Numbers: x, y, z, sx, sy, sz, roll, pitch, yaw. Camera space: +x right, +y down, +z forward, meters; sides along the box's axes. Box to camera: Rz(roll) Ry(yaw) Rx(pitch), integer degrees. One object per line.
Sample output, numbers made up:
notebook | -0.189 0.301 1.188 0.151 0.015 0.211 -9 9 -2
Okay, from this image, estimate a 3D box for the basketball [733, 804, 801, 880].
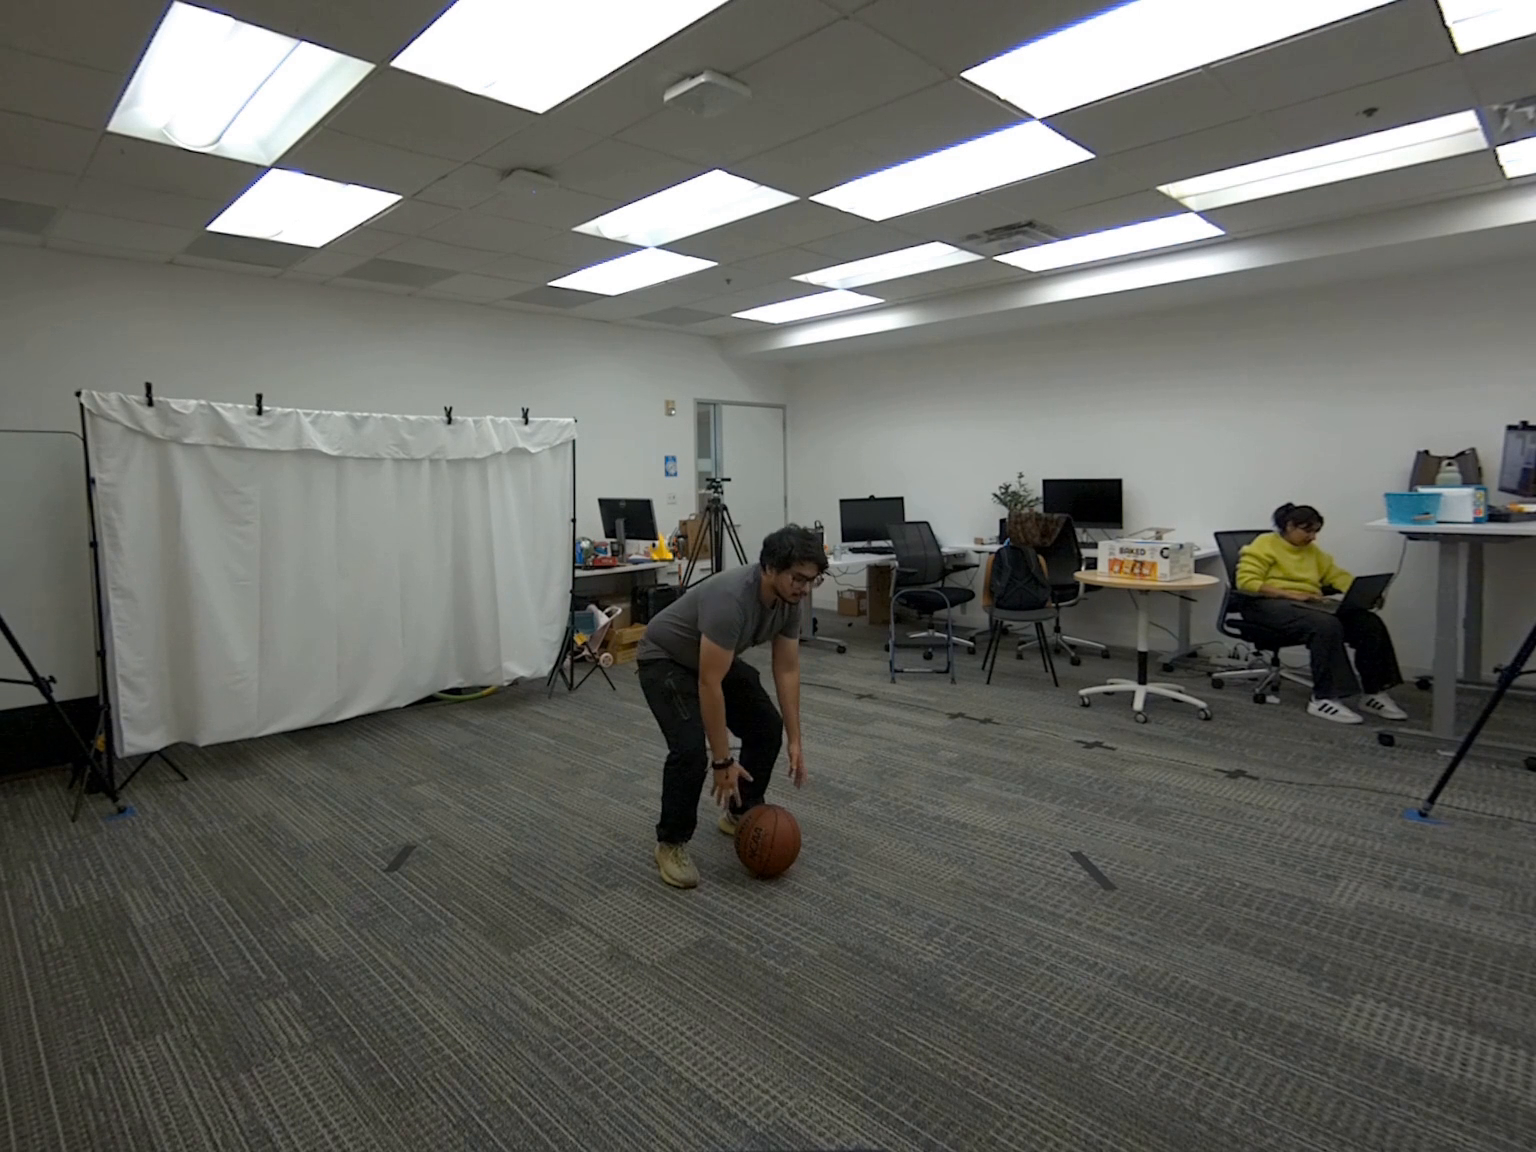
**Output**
basketball | -0.001 0.929 3.023 0.236 0.235 0.237 -1 5 -2
